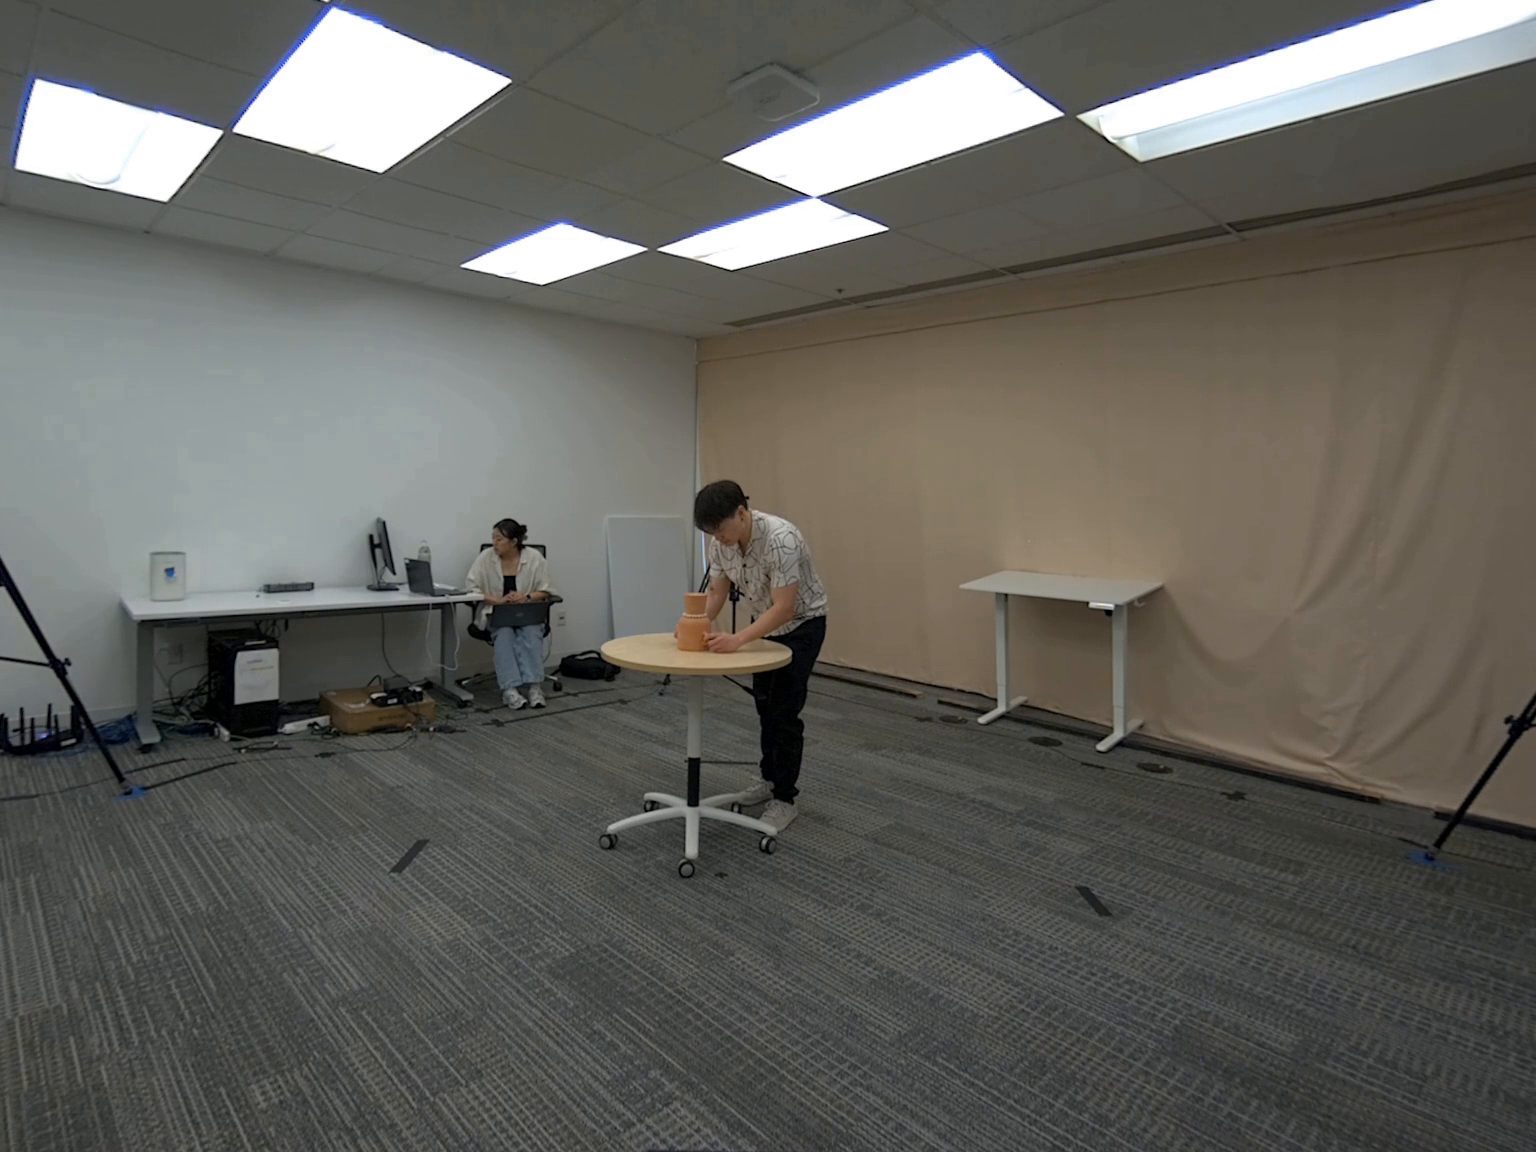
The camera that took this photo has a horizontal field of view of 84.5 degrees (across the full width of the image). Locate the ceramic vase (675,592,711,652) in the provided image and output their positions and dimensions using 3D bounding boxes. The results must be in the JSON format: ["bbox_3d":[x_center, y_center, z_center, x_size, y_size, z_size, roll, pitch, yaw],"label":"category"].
[{"bbox_3d":[-0.300,0.183,3.380,0.160,0.219,0.133,3,1,9],"label":"ceramic vase"}]
